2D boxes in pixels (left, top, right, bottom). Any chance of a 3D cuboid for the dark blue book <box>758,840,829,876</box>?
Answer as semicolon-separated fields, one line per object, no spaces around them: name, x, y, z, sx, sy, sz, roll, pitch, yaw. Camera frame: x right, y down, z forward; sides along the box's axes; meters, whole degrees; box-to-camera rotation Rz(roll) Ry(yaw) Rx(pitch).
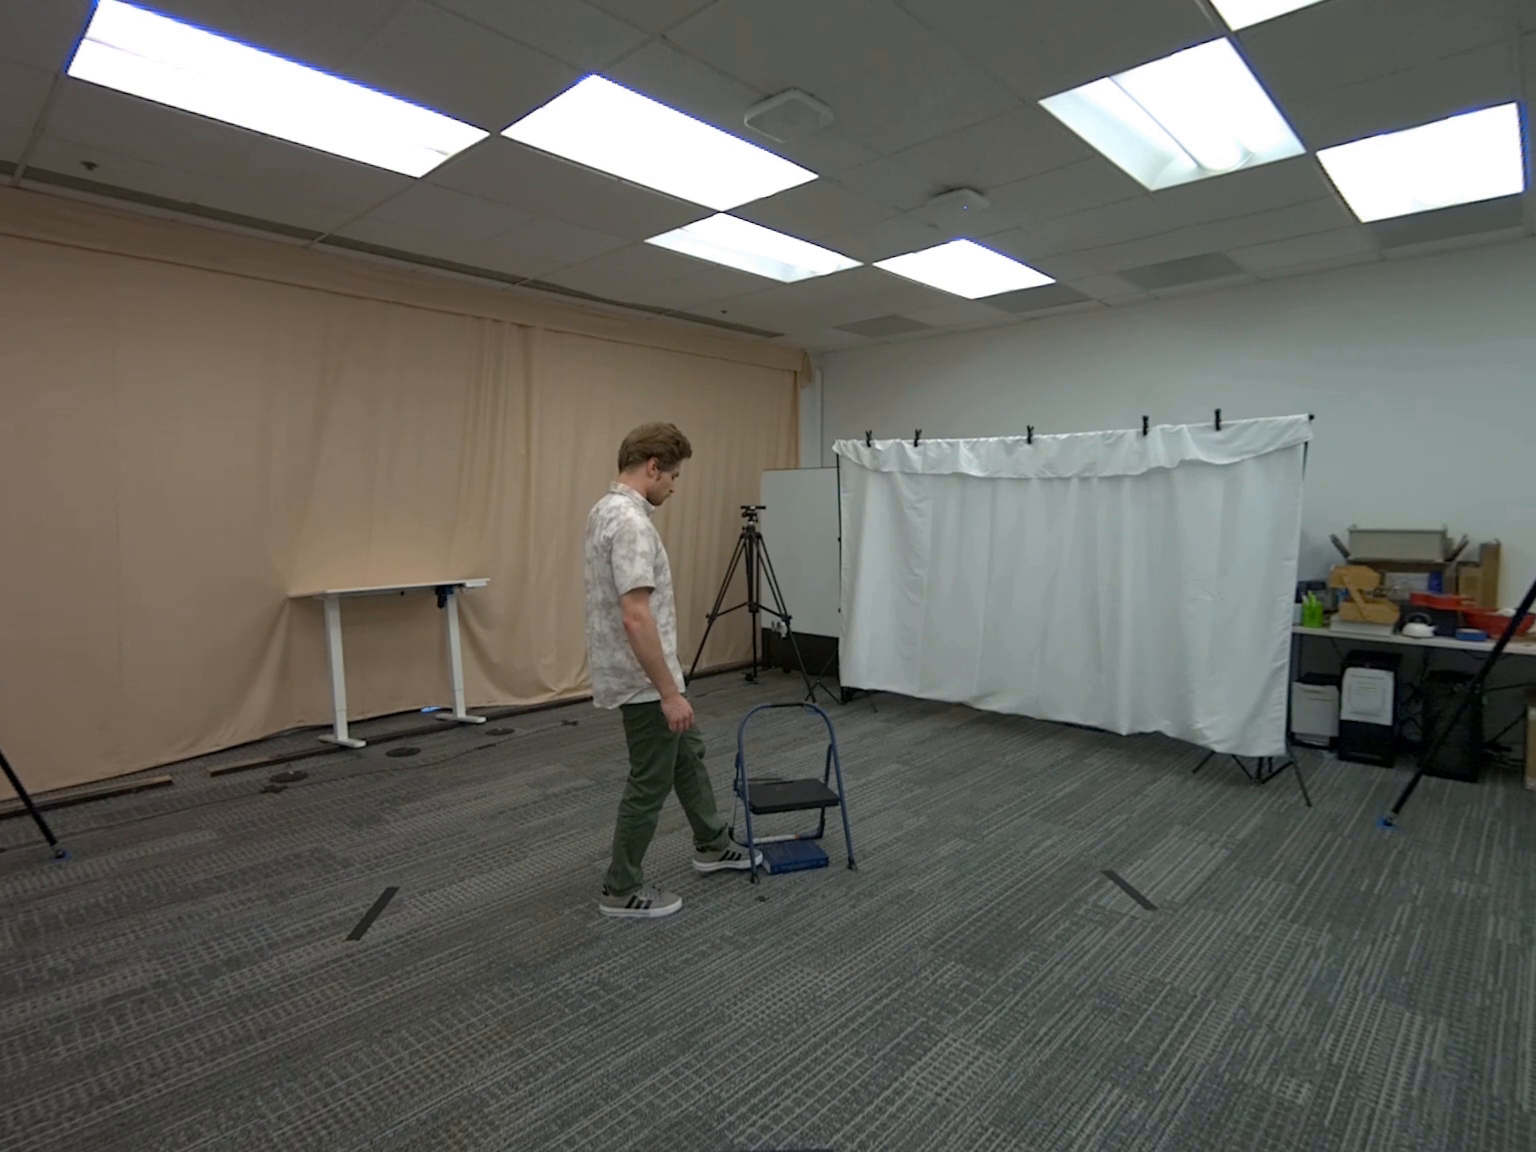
dark blue book;0.103;1.096;3.284;0.240;0.045;0.167;-4;7;-19
